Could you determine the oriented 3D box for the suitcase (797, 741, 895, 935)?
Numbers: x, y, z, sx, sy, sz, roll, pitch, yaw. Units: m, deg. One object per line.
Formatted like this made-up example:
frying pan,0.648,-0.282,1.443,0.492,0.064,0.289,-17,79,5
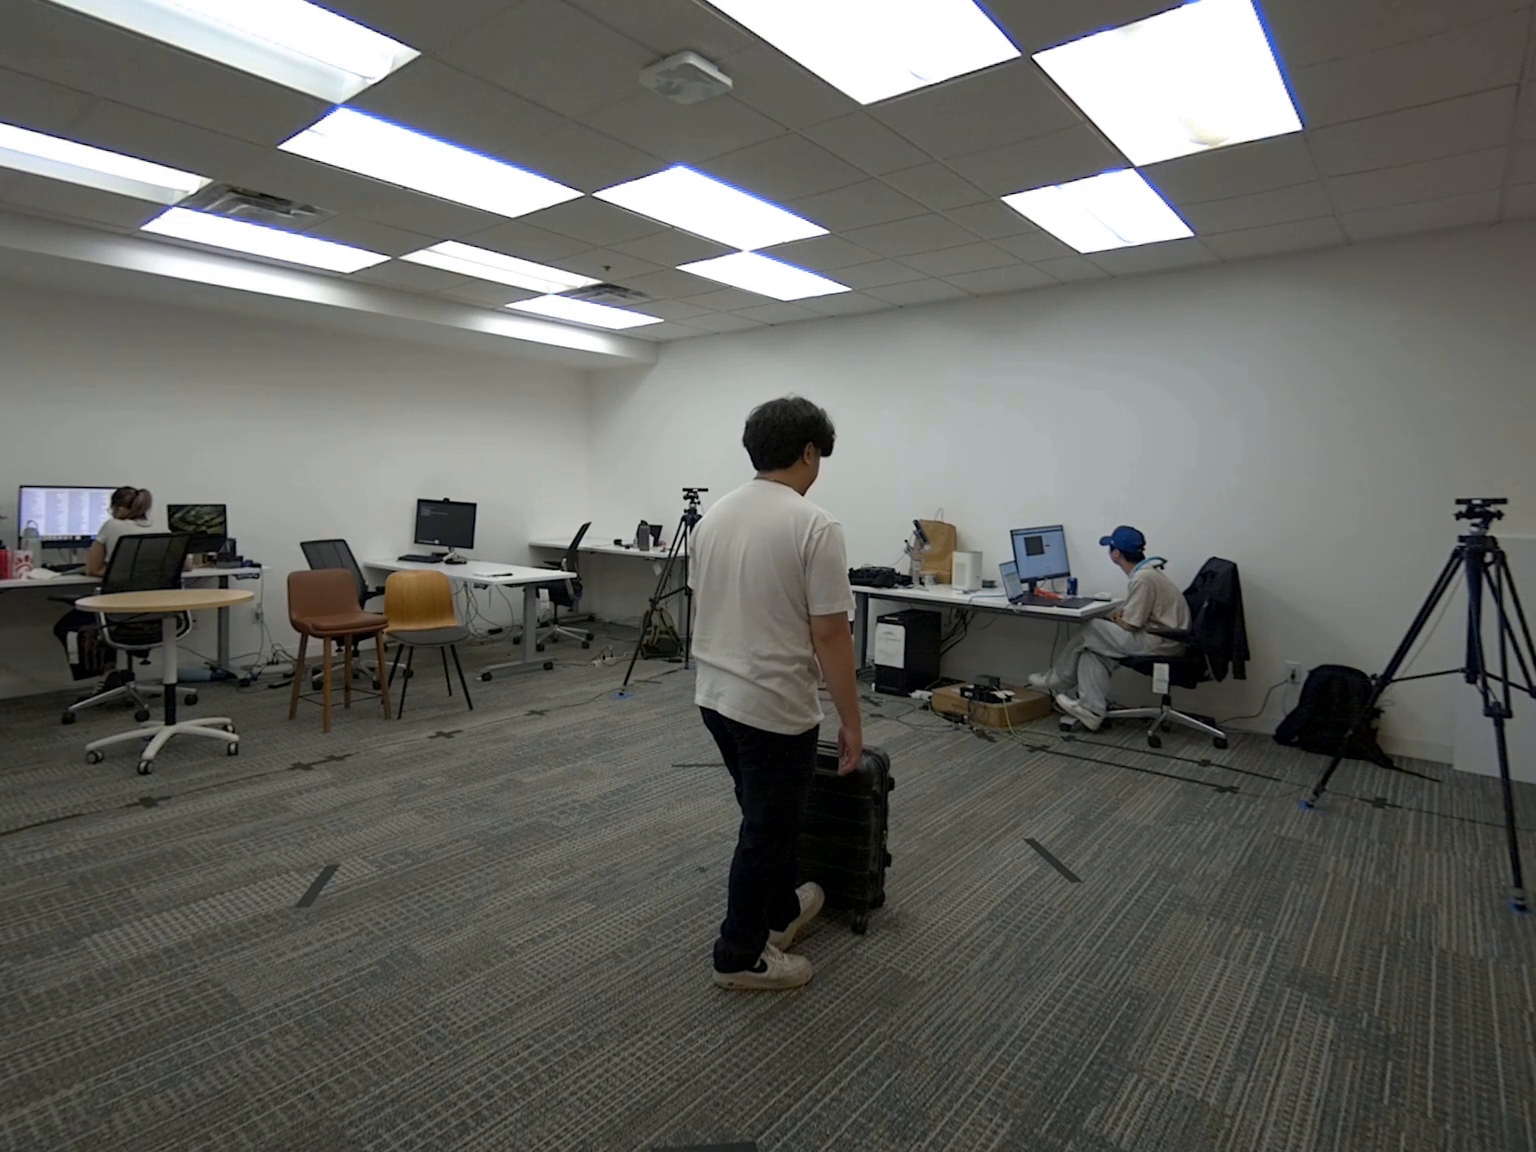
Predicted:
suitcase,0.222,0.623,2.862,0.394,0.979,0.250,3,-1,26
